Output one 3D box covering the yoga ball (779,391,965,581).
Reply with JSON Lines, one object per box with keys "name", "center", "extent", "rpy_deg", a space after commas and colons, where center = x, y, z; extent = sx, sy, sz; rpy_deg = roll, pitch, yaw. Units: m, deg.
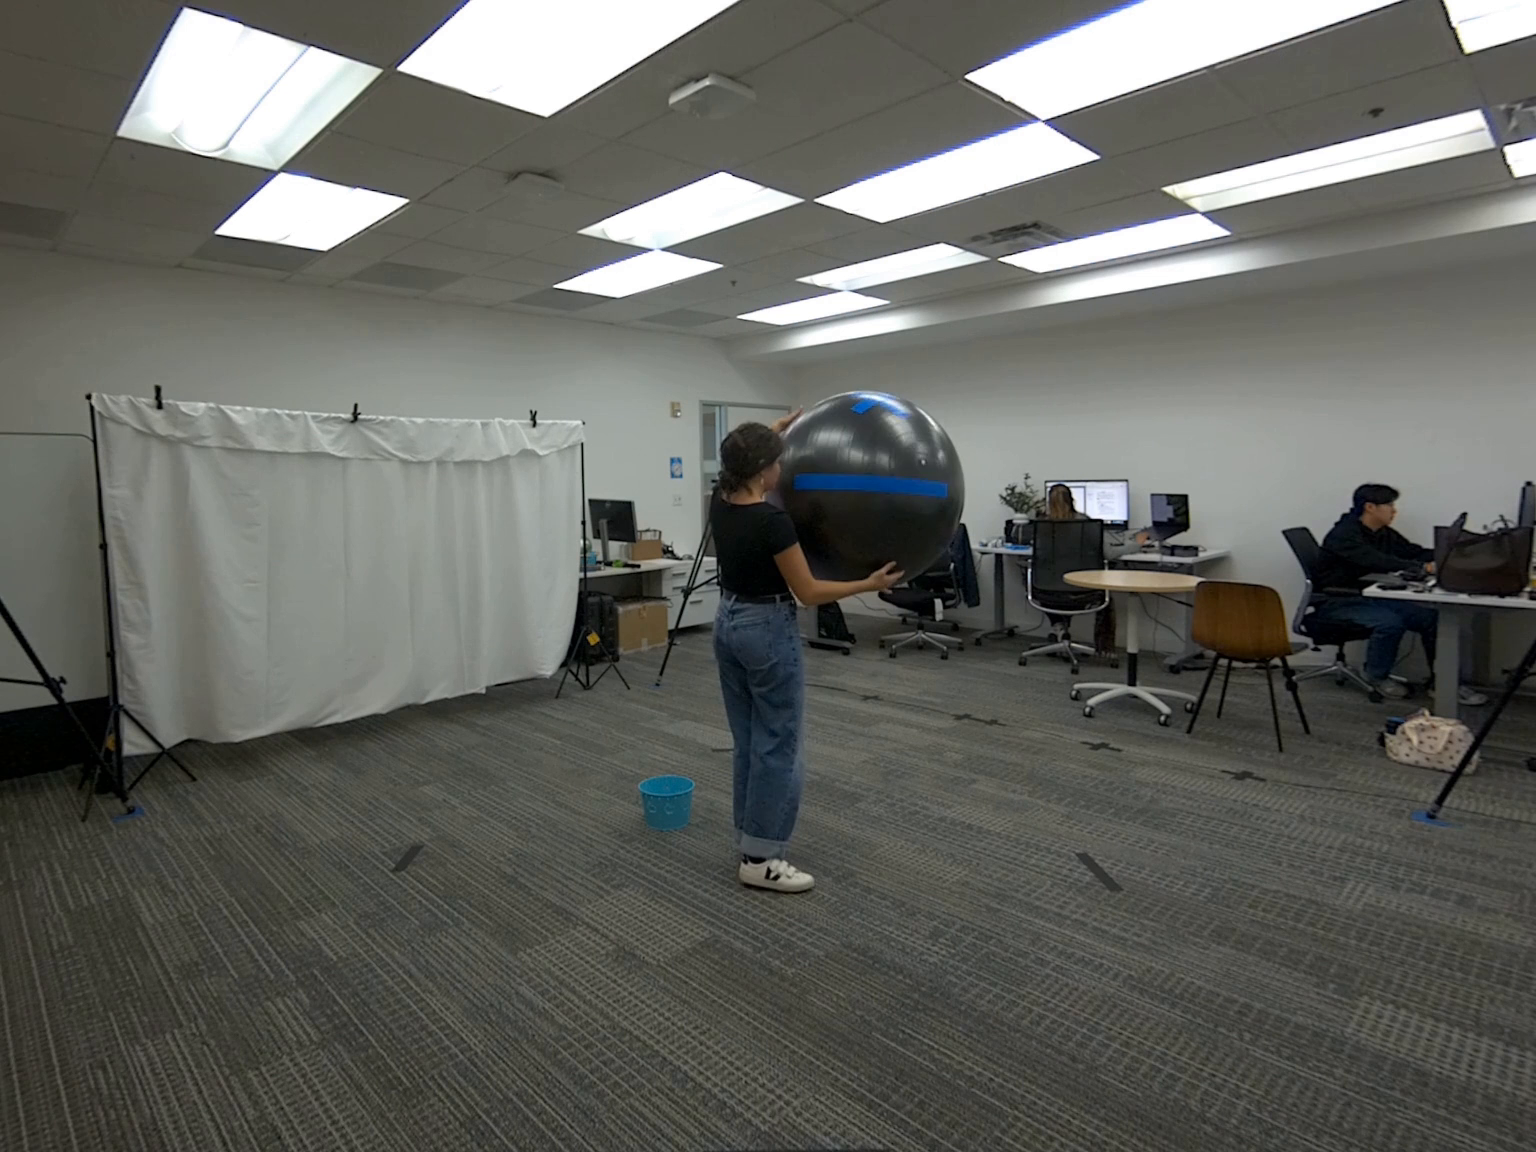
{"name": "yoga ball", "center": [0.361, -0.313, 3.277], "extent": [0.757, 0.755, 0.762], "rpy_deg": [-1, 5, -2]}
